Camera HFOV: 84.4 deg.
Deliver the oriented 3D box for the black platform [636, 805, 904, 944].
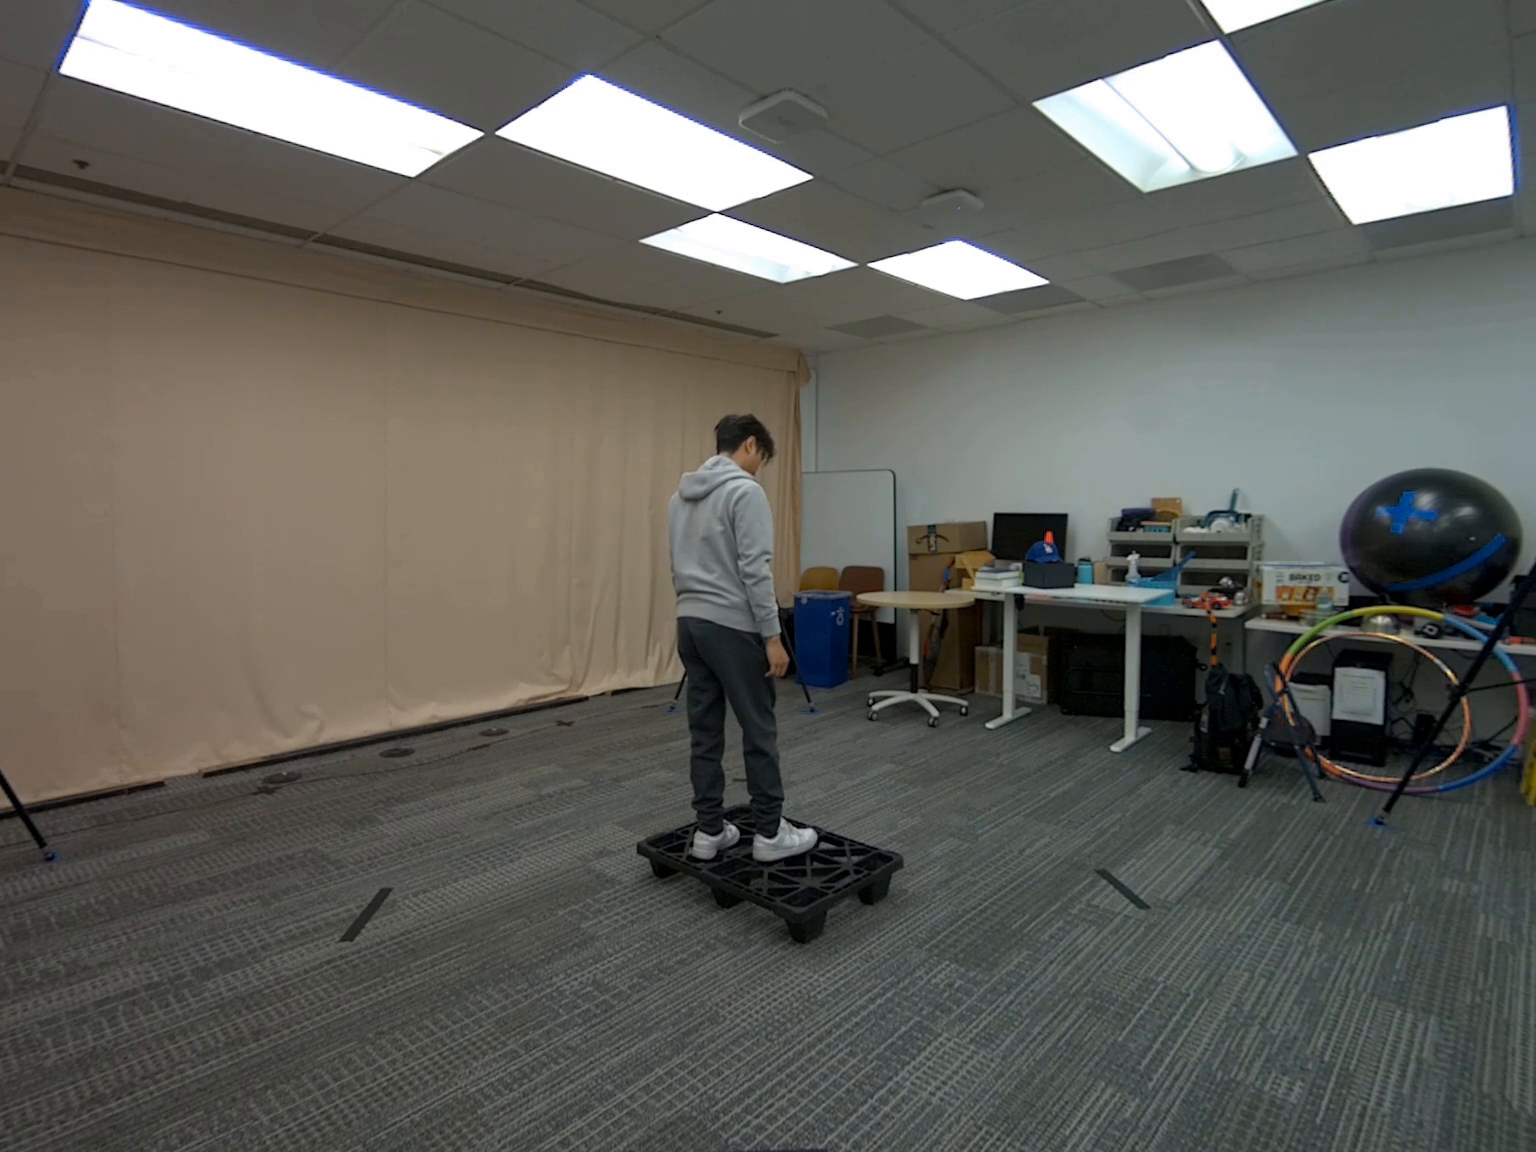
[{"bbox_3d":[-0.001,1.067,3.079,0.832,0.143,0.587,4,7,44],"label":"black platform"}]
